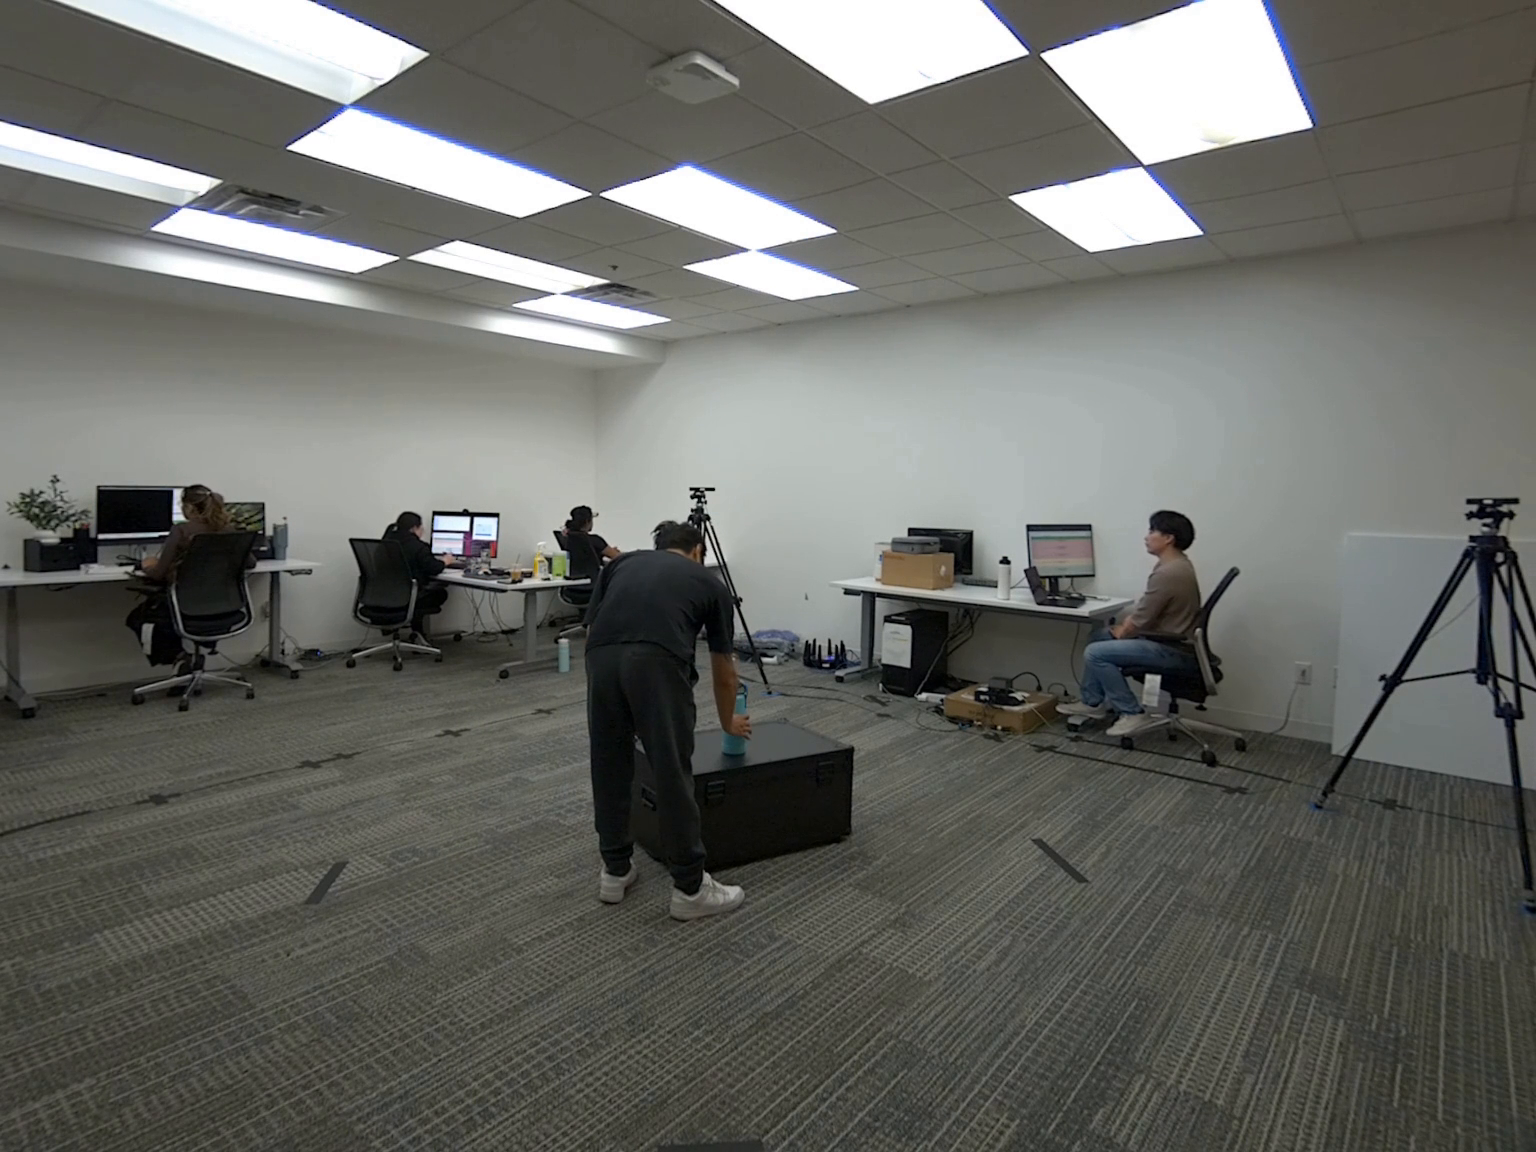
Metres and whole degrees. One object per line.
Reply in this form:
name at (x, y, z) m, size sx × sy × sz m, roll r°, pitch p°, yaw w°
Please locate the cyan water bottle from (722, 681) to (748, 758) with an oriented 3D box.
cyan water bottle at (-0.138, 0.536, 3.290) m, size 0.092 × 0.283 × 0.092 m, roll 3°, pitch 2°, yaw -2°
